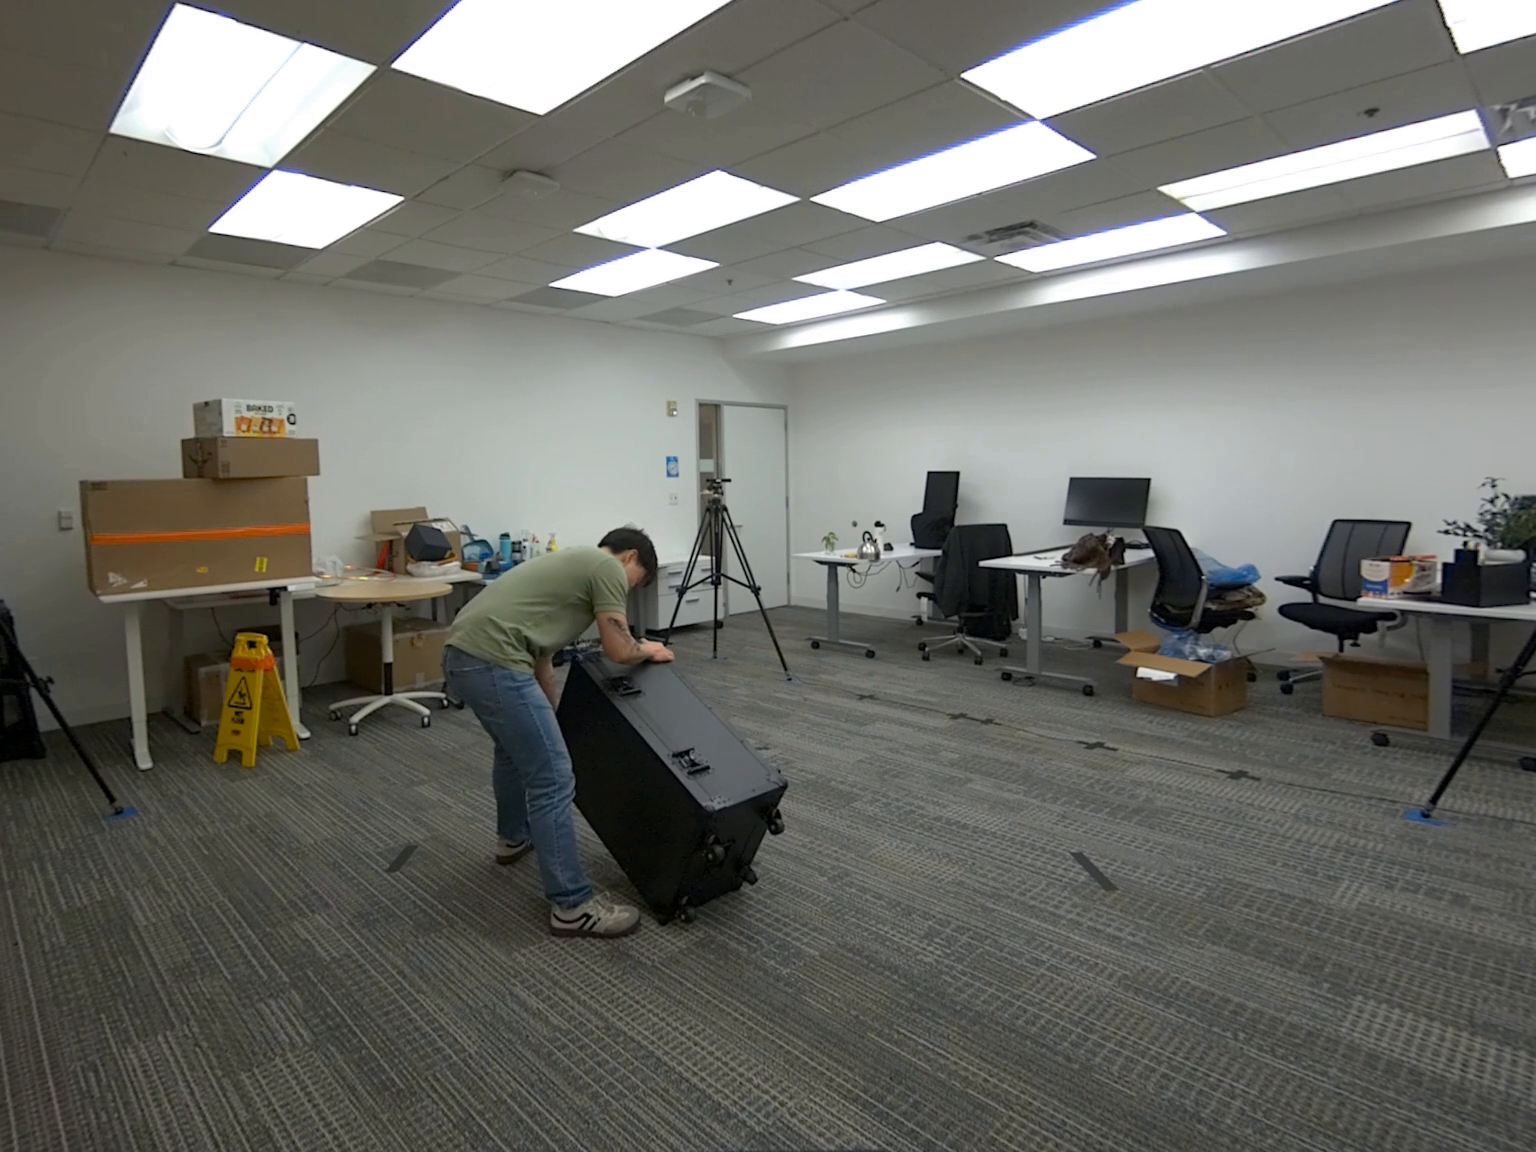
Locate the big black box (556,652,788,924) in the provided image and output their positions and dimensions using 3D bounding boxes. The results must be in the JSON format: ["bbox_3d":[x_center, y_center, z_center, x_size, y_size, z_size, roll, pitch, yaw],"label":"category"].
[{"bbox_3d":[-0.345,0.693,2.937,0.386,0.515,0.895,-5,35,-44],"label":"big black box"}]
